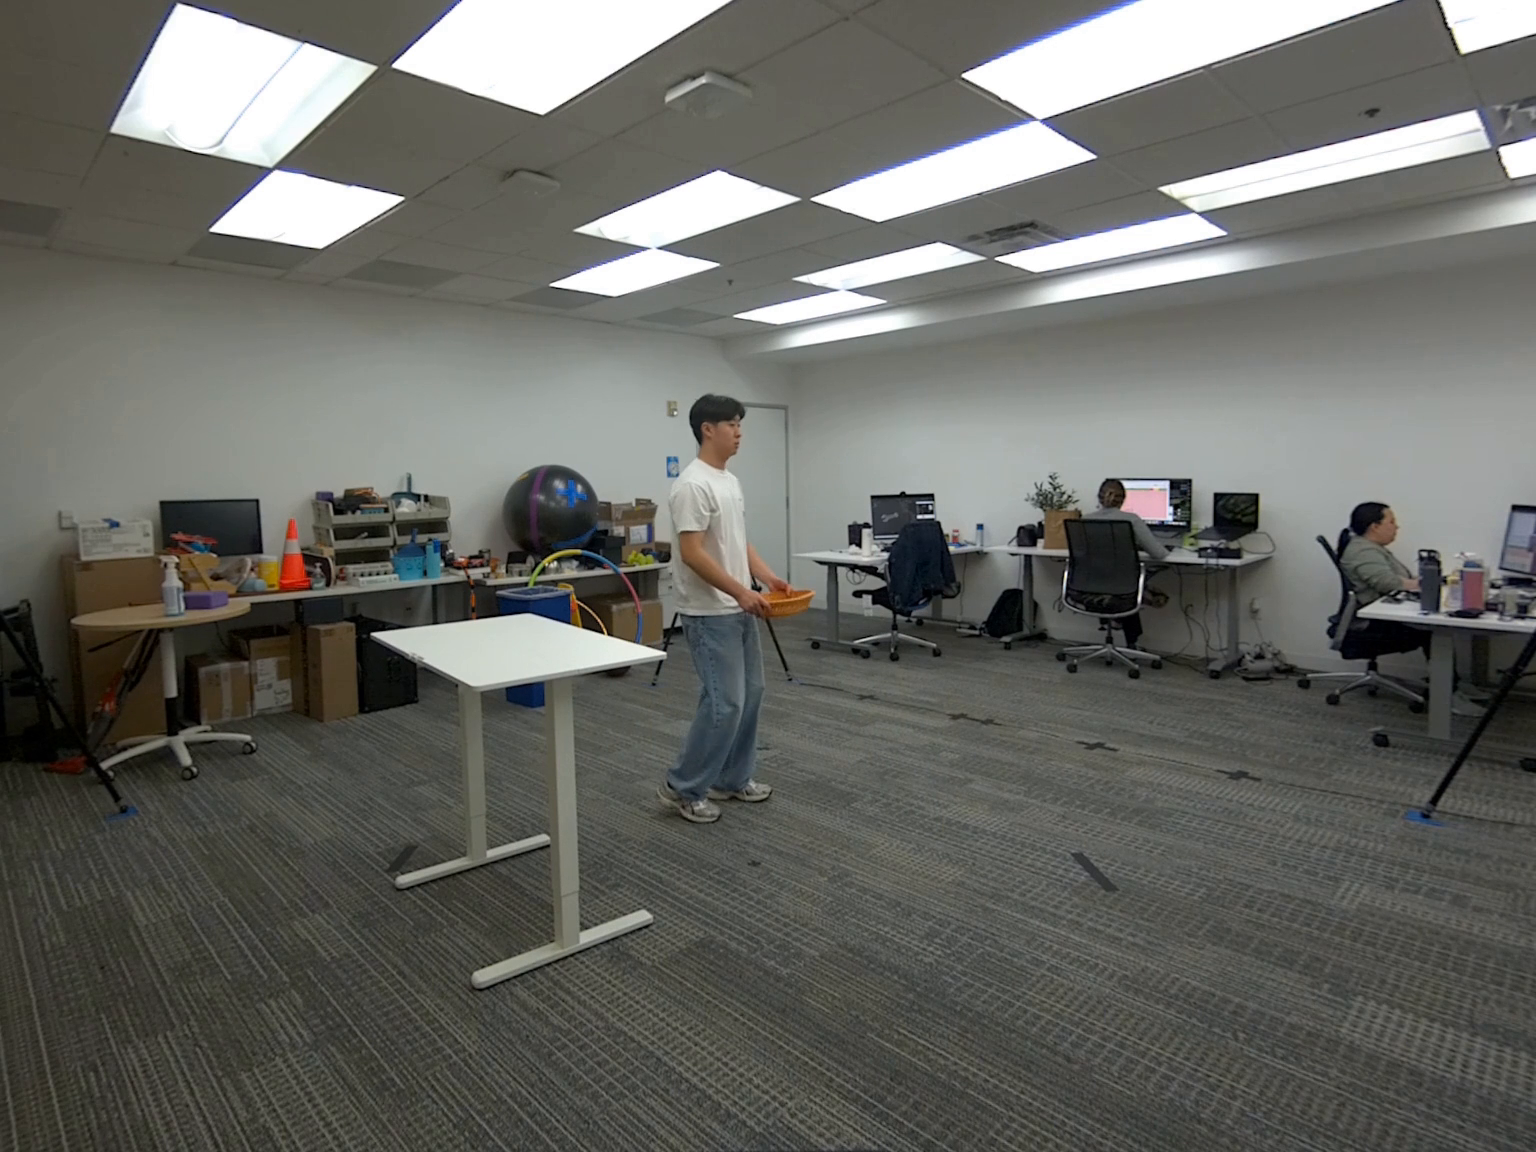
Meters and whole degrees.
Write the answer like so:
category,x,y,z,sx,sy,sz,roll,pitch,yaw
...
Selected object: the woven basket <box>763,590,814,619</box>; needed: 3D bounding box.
category,x,y,z,sx,sy,sz,roll,pitch,yaw
woven basket,0.013,0.117,3.518,0.260,0.073,0.342,1,7,41
